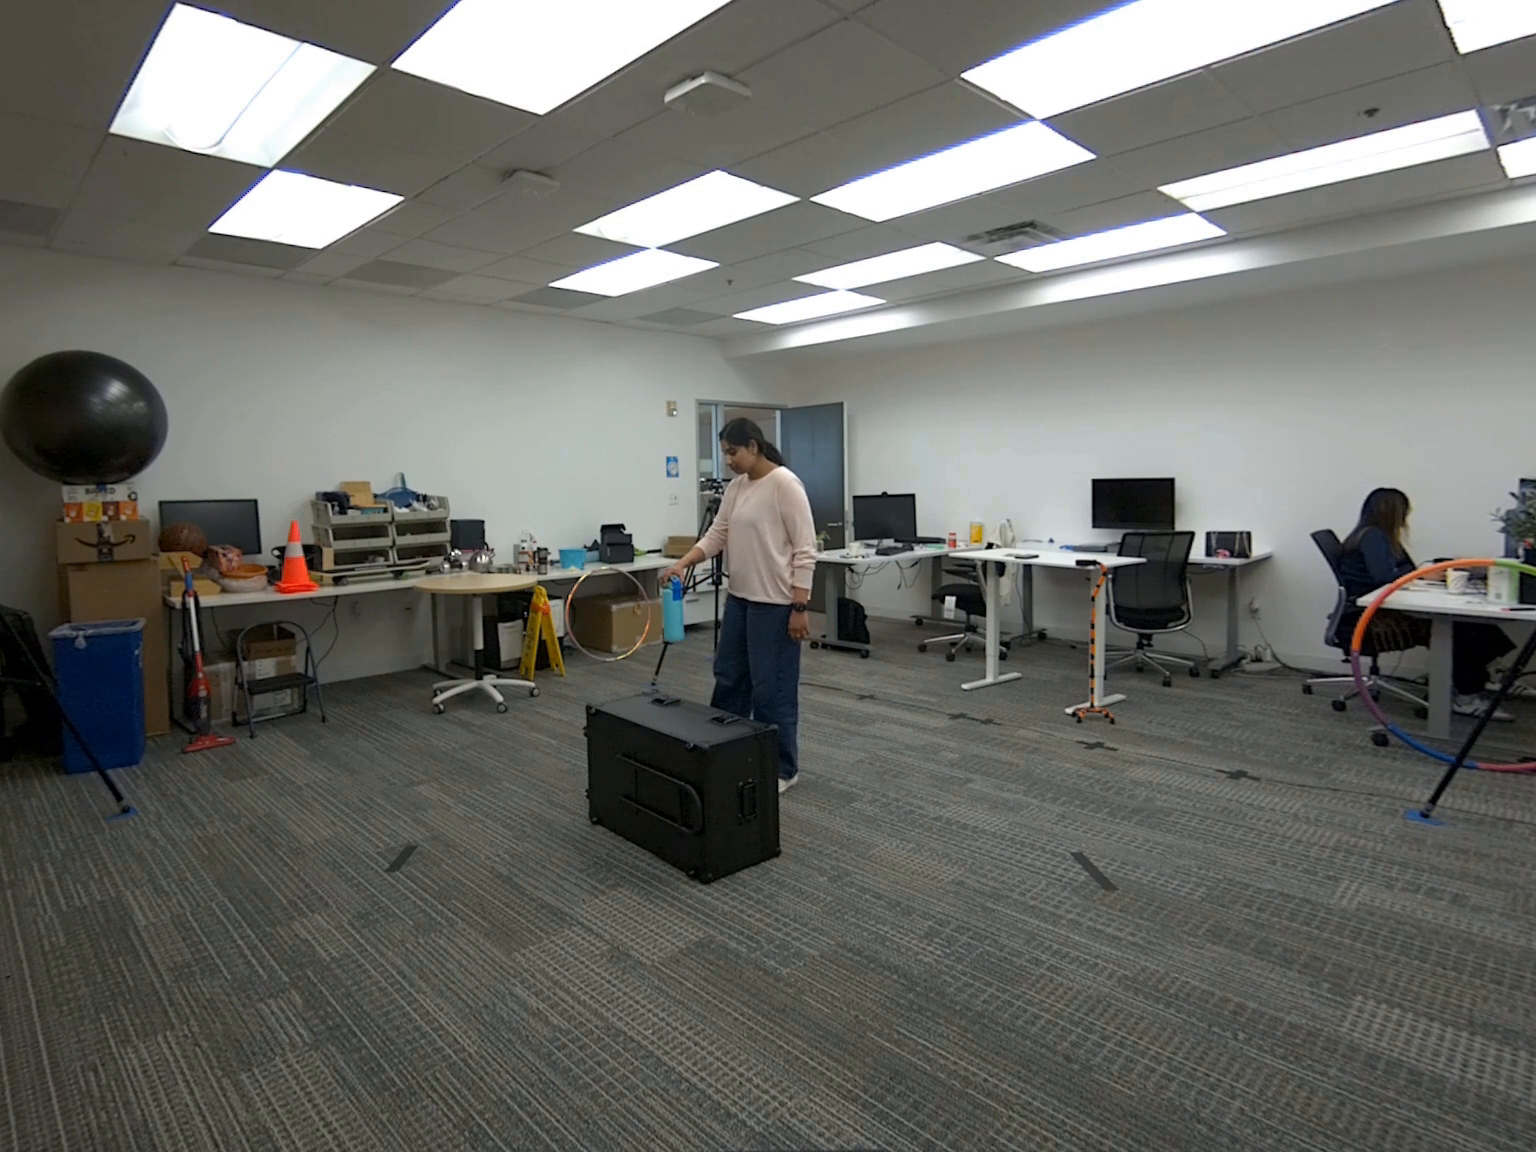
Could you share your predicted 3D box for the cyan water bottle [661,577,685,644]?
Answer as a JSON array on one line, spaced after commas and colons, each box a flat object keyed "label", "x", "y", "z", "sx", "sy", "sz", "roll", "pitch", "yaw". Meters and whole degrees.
[{"label": "cyan water bottle", "x": -0.423, "y": 0.140, "z": 3.758, "sx": 0.092, "sy": 0.283, "sz": 0.092, "roll": 0, "pitch": 0, "yaw": -2}]
